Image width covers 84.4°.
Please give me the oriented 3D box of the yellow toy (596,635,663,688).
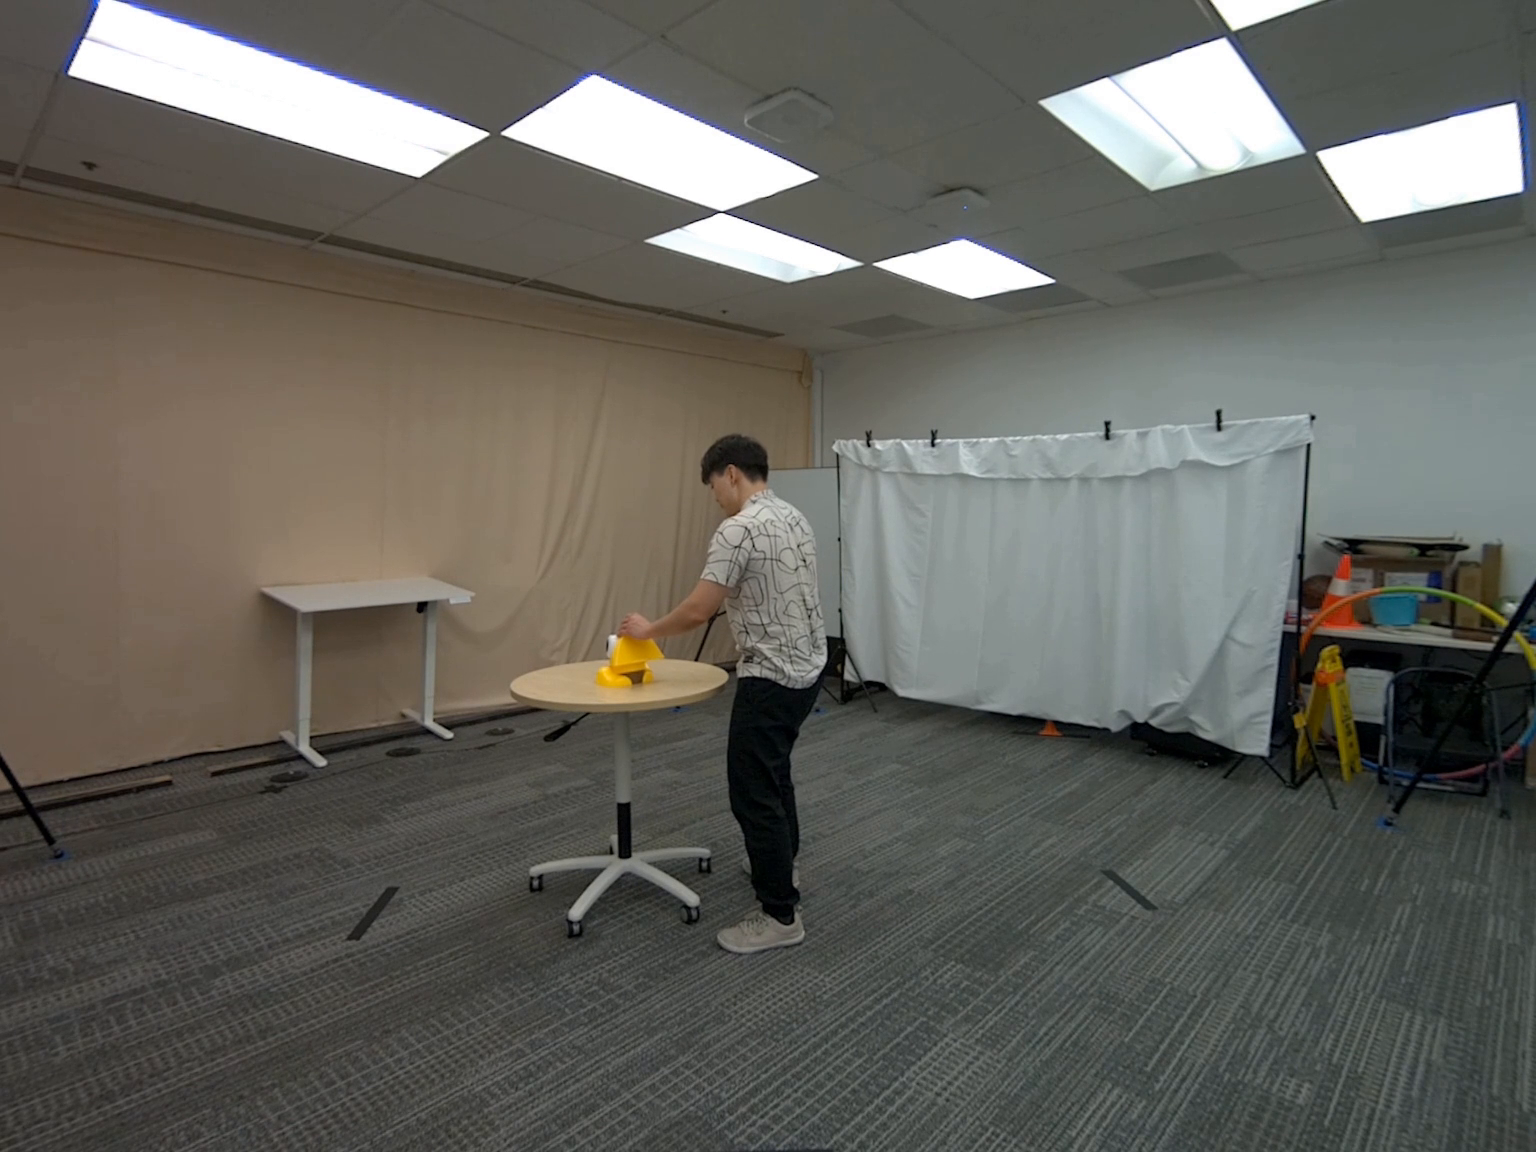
[{"bbox_3d":[-0.498,0.257,2.944,0.198,0.230,0.199,-5,6,-43],"label":"yellow toy"}]
